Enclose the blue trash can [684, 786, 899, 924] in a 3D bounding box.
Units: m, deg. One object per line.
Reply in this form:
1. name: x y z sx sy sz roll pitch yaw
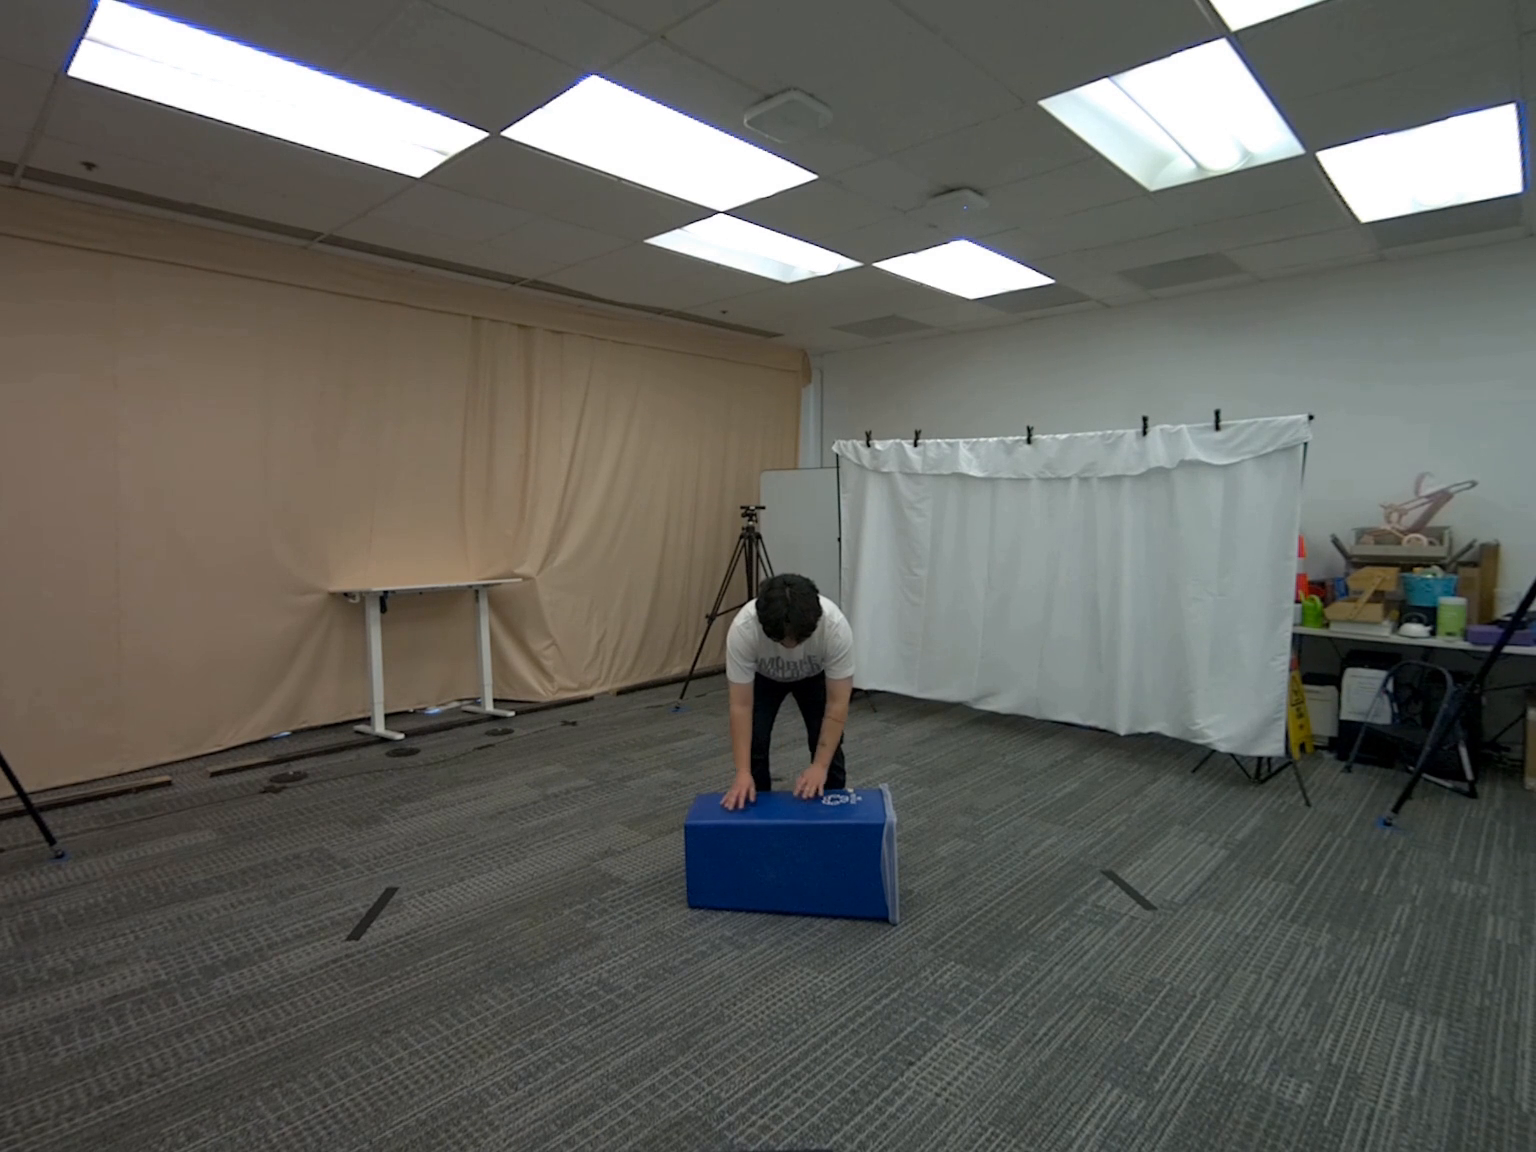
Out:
1. blue trash can: 0.089 0.972 2.992 0.719 0.377 0.372 -2 4 6
